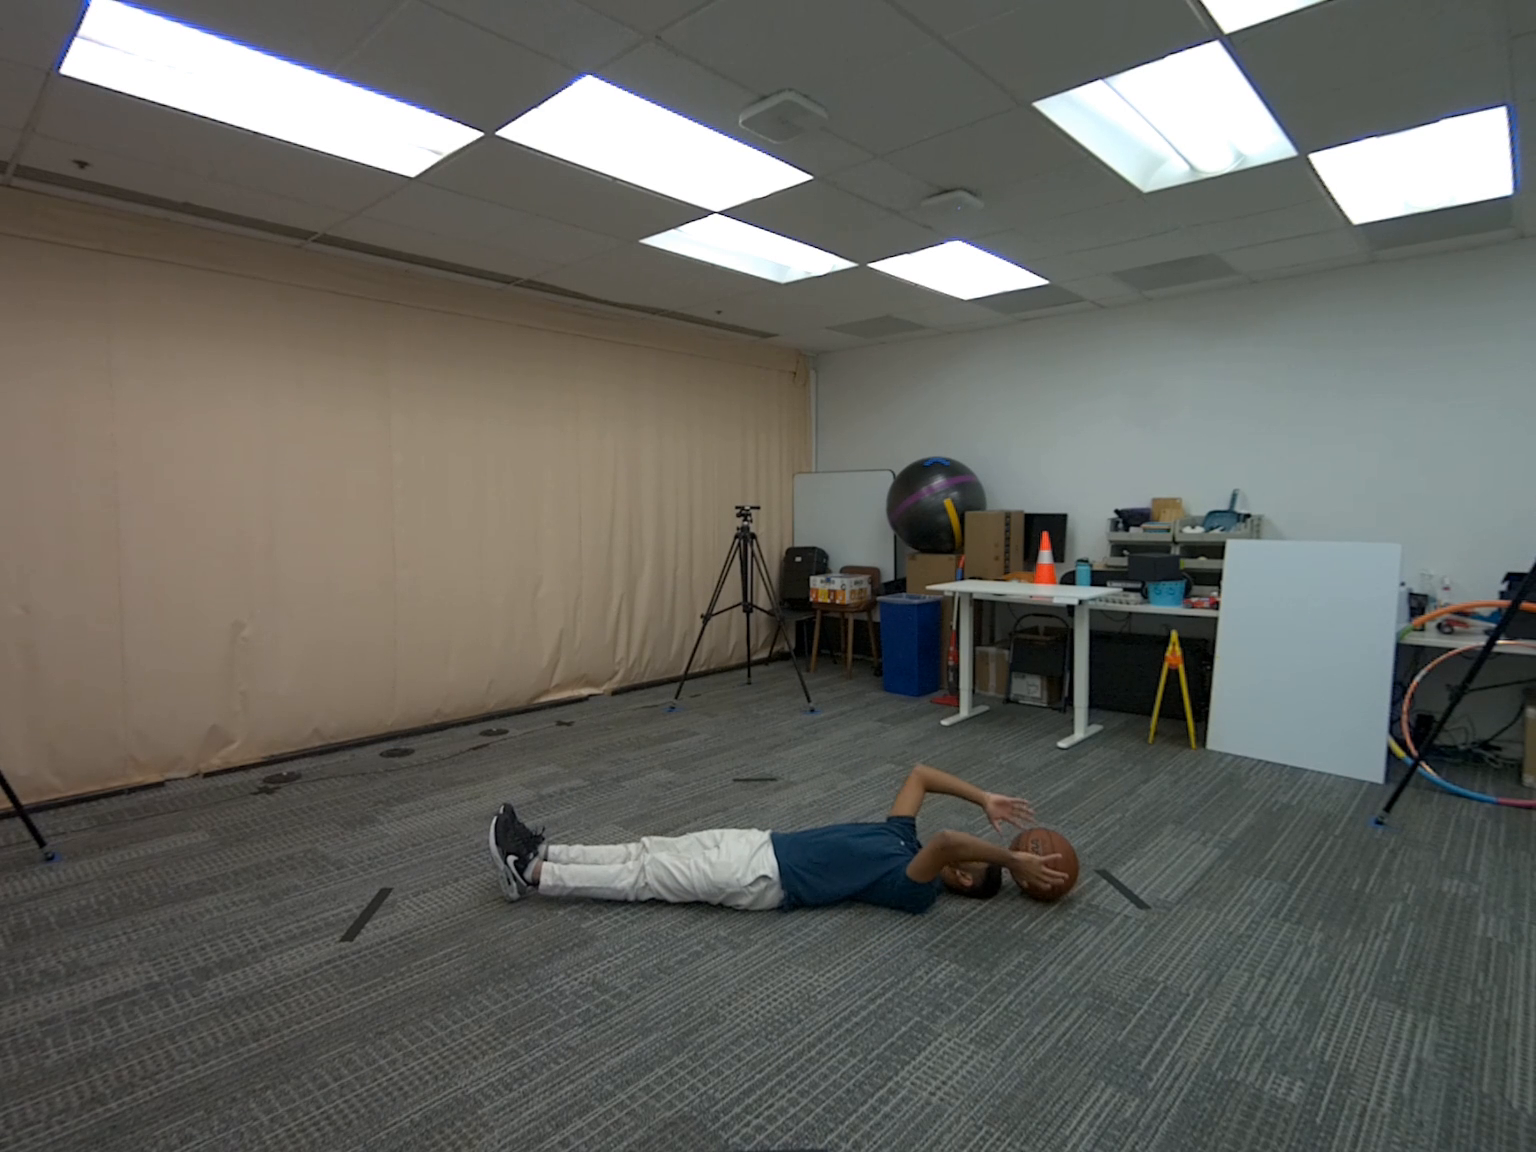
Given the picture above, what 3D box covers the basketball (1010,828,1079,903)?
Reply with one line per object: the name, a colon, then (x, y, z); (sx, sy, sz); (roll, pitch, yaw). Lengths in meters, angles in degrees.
basketball: (0.988, 1.018, 3.000); (0.236, 0.235, 0.237); (0, 4, -2)
